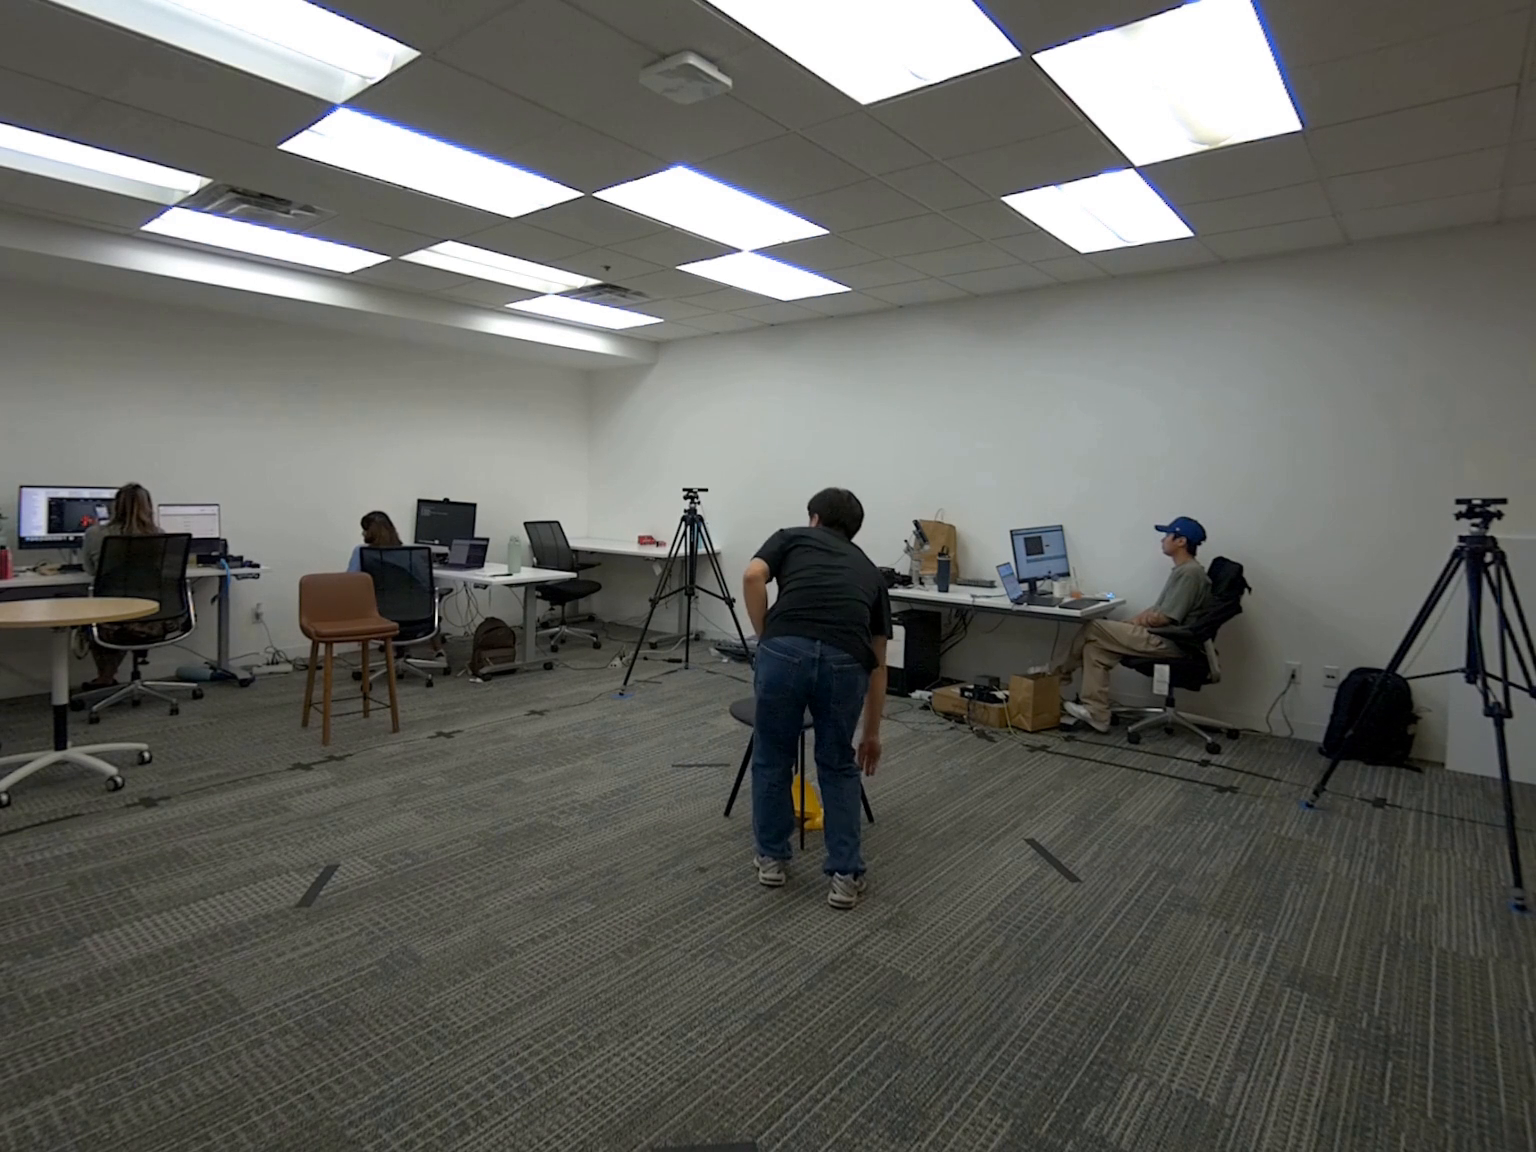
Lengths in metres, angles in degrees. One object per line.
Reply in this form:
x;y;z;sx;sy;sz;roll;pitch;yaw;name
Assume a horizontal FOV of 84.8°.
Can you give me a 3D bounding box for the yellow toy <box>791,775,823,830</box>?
0.137;0.920;3.585;0.209;0.230;0.190;3;5;18;yellow toy
